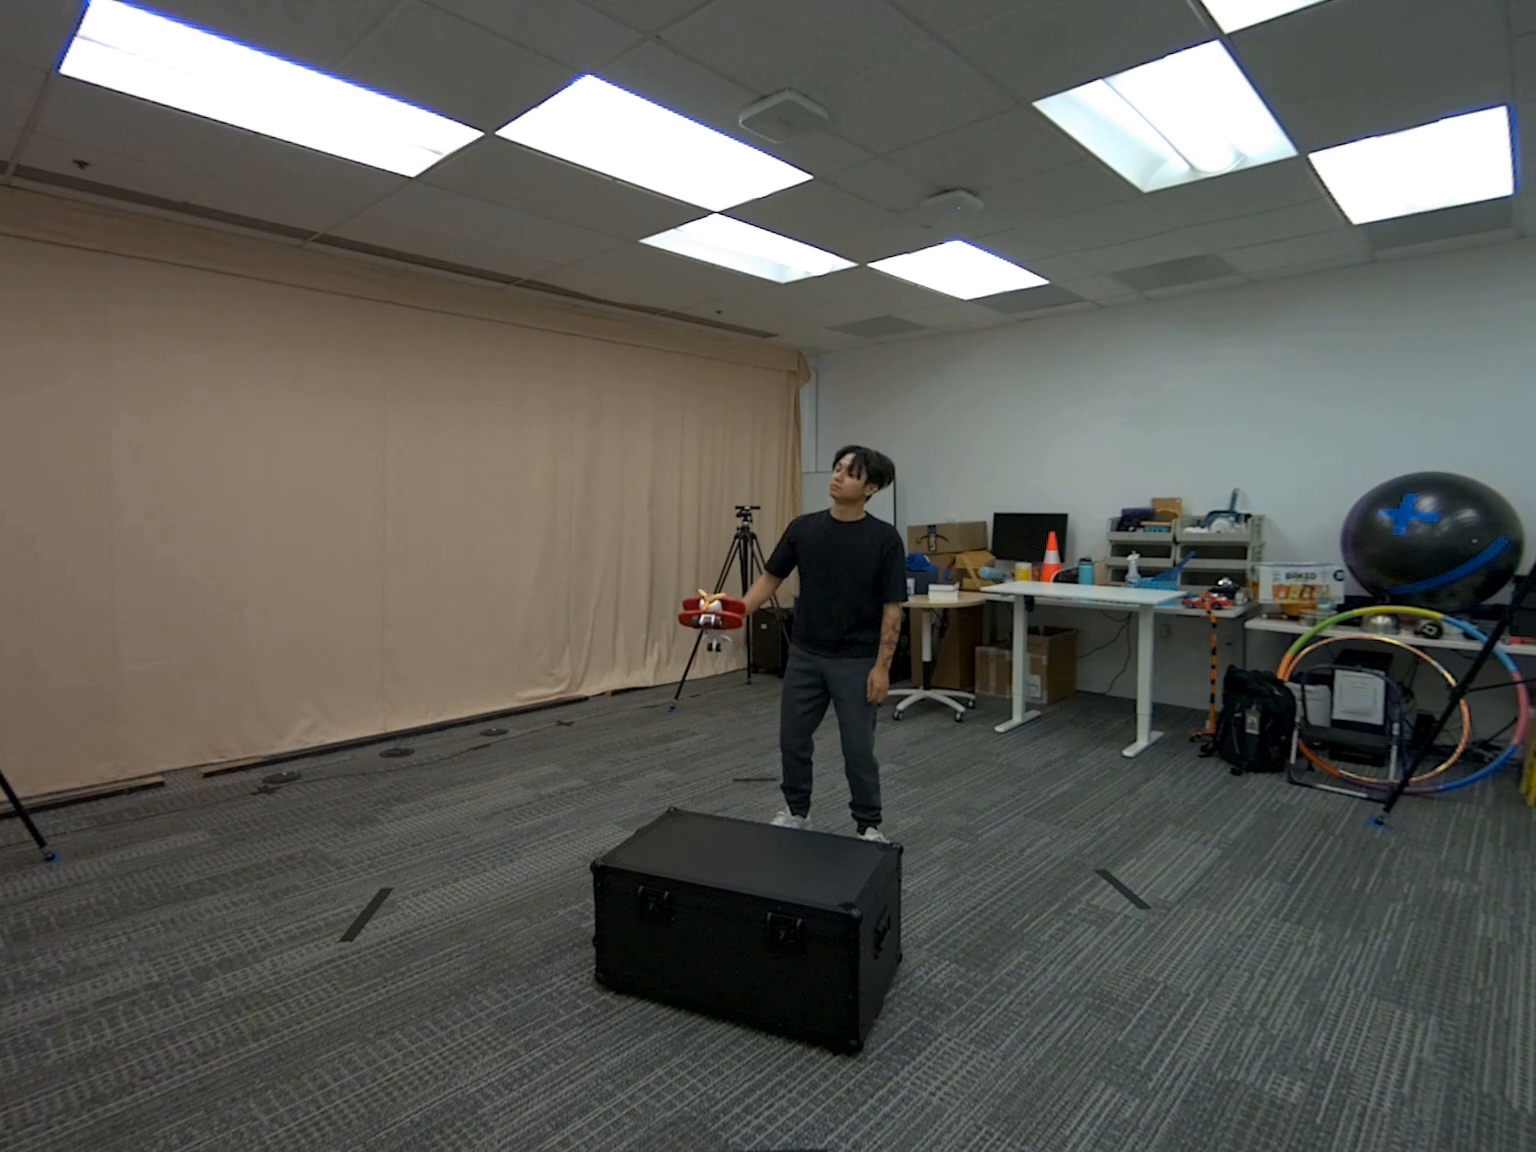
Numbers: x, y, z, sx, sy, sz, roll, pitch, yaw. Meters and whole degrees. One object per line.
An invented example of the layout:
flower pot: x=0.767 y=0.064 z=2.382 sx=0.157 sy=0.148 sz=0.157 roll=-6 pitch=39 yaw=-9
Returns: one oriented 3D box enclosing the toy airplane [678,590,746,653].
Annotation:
toy airplane: x=-0.235 y=0.178 z=3.324 sx=0.248 sy=0.158 sz=0.260 roll=18 pitch=-34 yaw=-12
